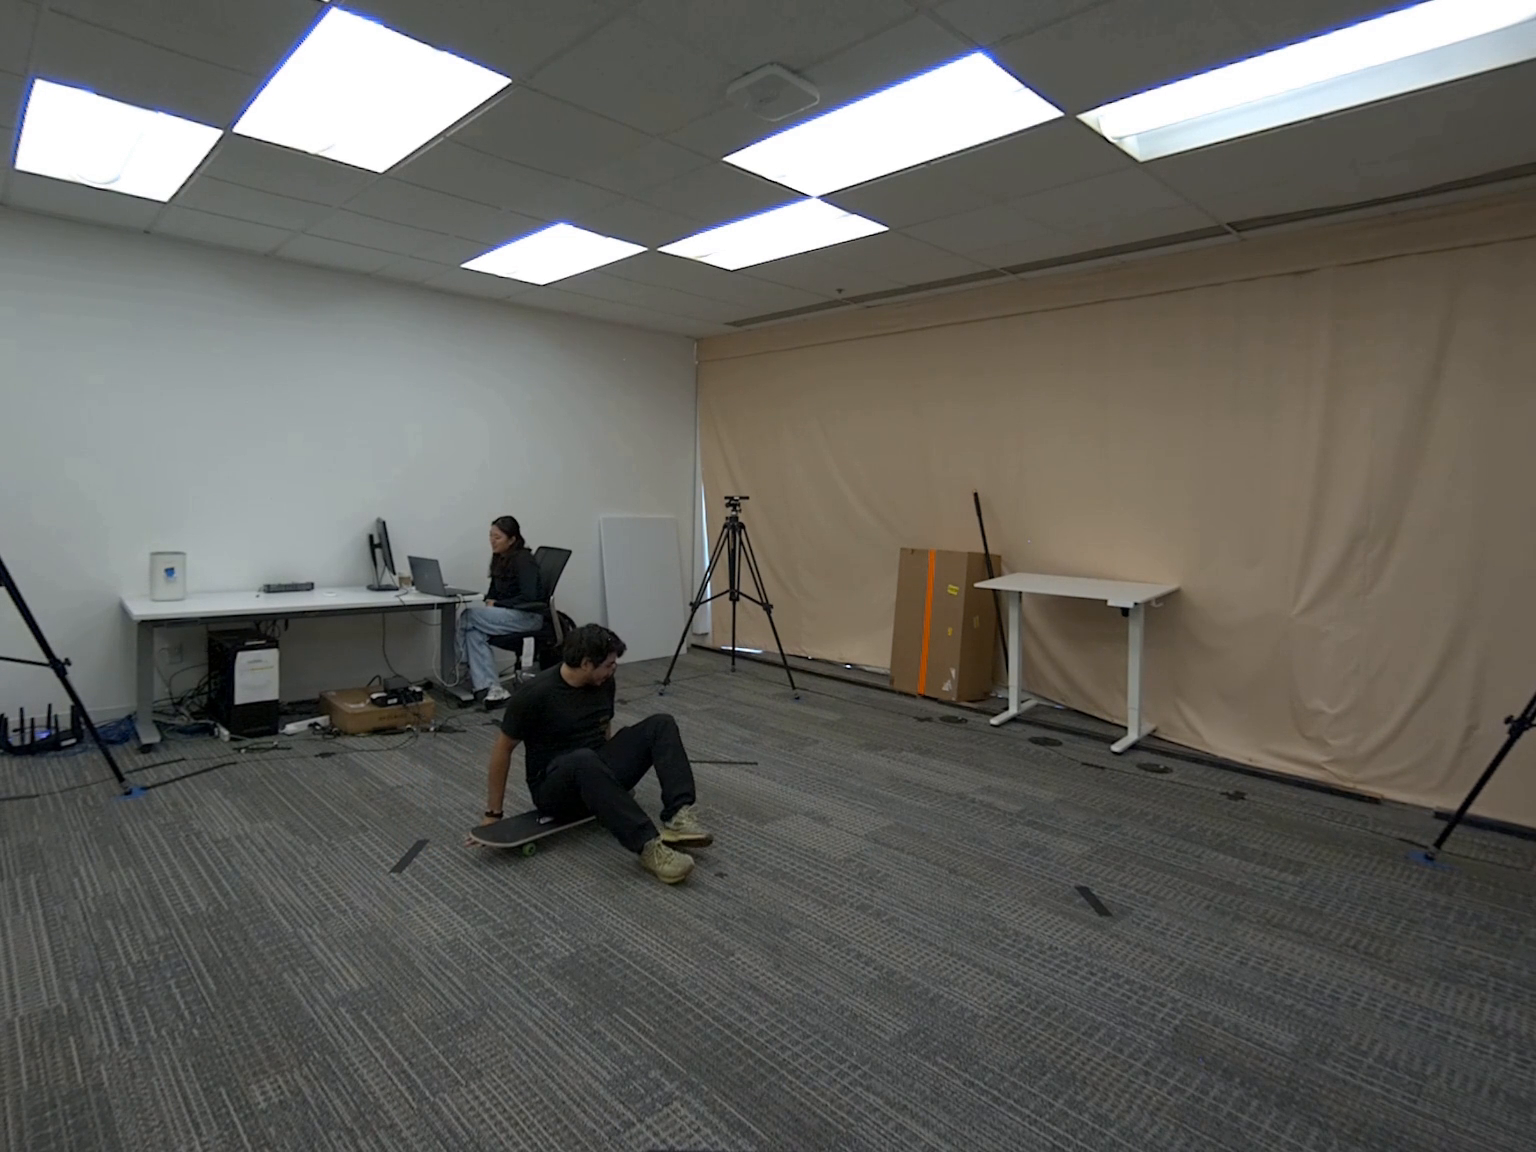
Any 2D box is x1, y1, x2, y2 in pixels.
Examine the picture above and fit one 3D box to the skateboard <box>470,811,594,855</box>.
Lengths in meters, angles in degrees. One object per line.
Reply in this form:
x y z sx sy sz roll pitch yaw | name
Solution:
-0.864 1.008 3.426 0.199 0.110 0.768 11 10 39 | skateboard
